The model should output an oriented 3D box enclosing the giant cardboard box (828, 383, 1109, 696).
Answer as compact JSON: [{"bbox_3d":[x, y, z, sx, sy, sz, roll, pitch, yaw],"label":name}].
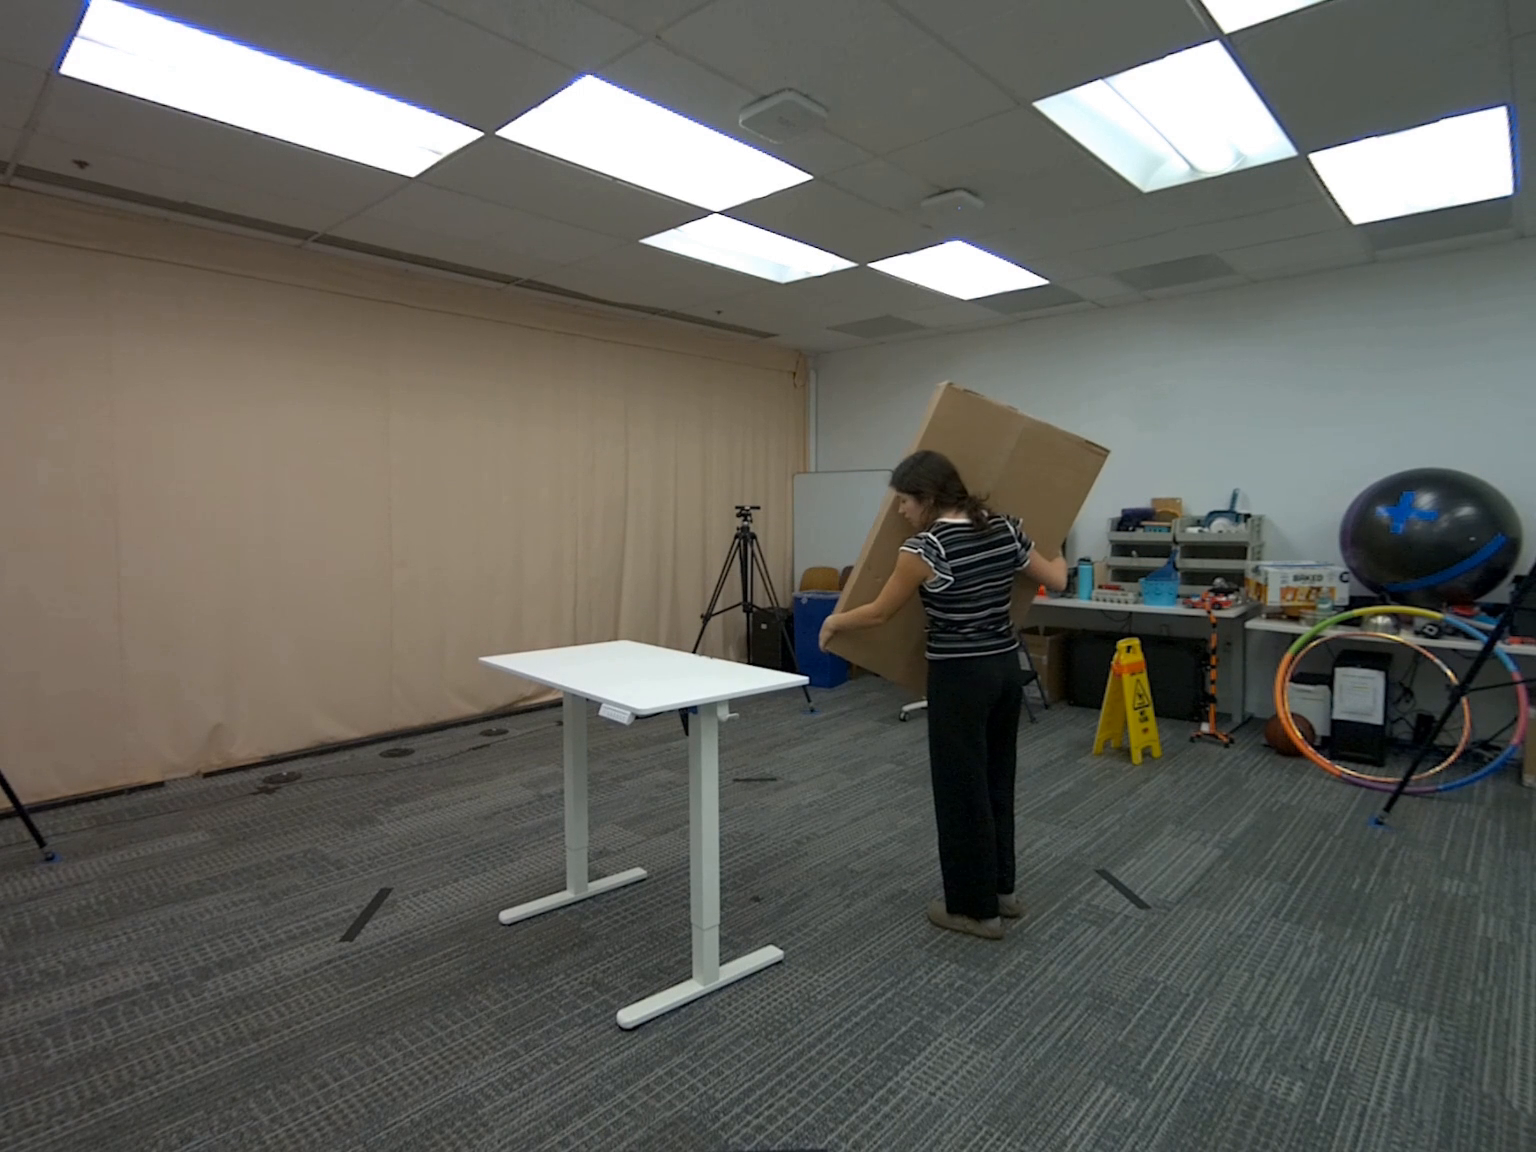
[{"bbox_3d":[0.689,-0.113,3.075,0.583,1.024,0.423,25,13,6],"label":"giant cardboard box"}]
